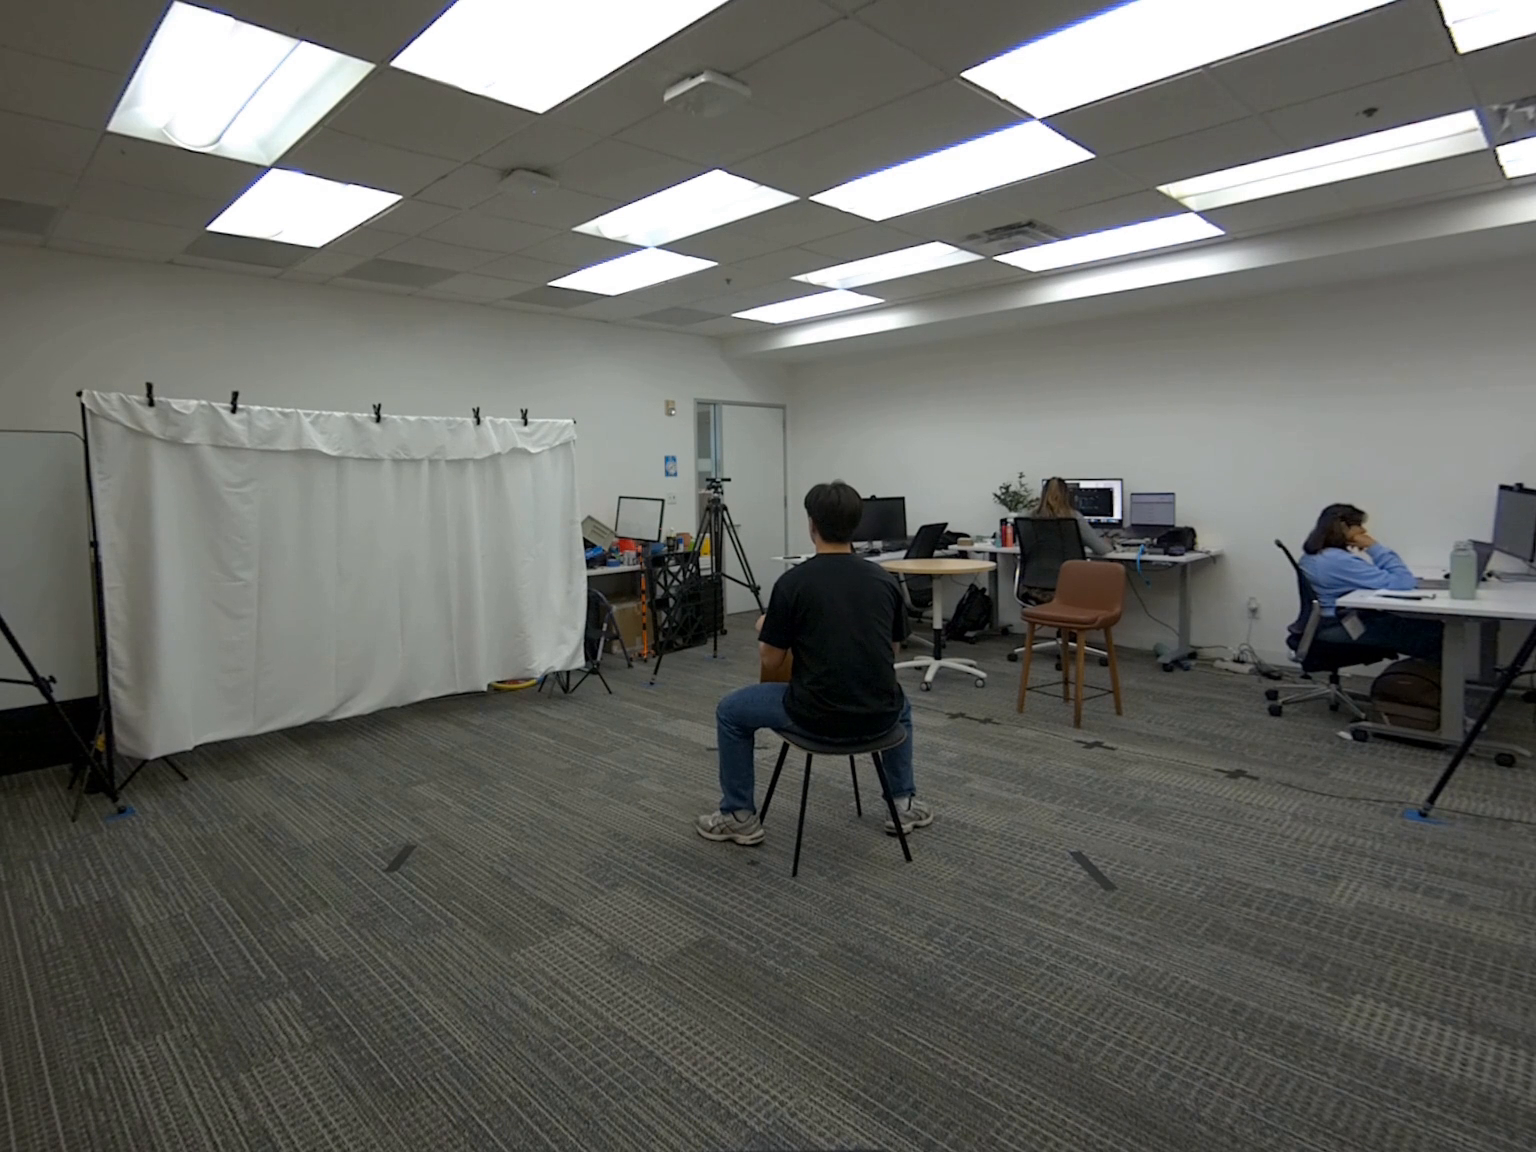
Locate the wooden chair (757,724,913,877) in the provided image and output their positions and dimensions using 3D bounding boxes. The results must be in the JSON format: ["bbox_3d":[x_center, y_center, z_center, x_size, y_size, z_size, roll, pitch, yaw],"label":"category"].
[{"bbox_3d":[0.234,0.599,3.218,0.471,0.877,0.531,-1,1,-16],"label":"wooden chair"}]
